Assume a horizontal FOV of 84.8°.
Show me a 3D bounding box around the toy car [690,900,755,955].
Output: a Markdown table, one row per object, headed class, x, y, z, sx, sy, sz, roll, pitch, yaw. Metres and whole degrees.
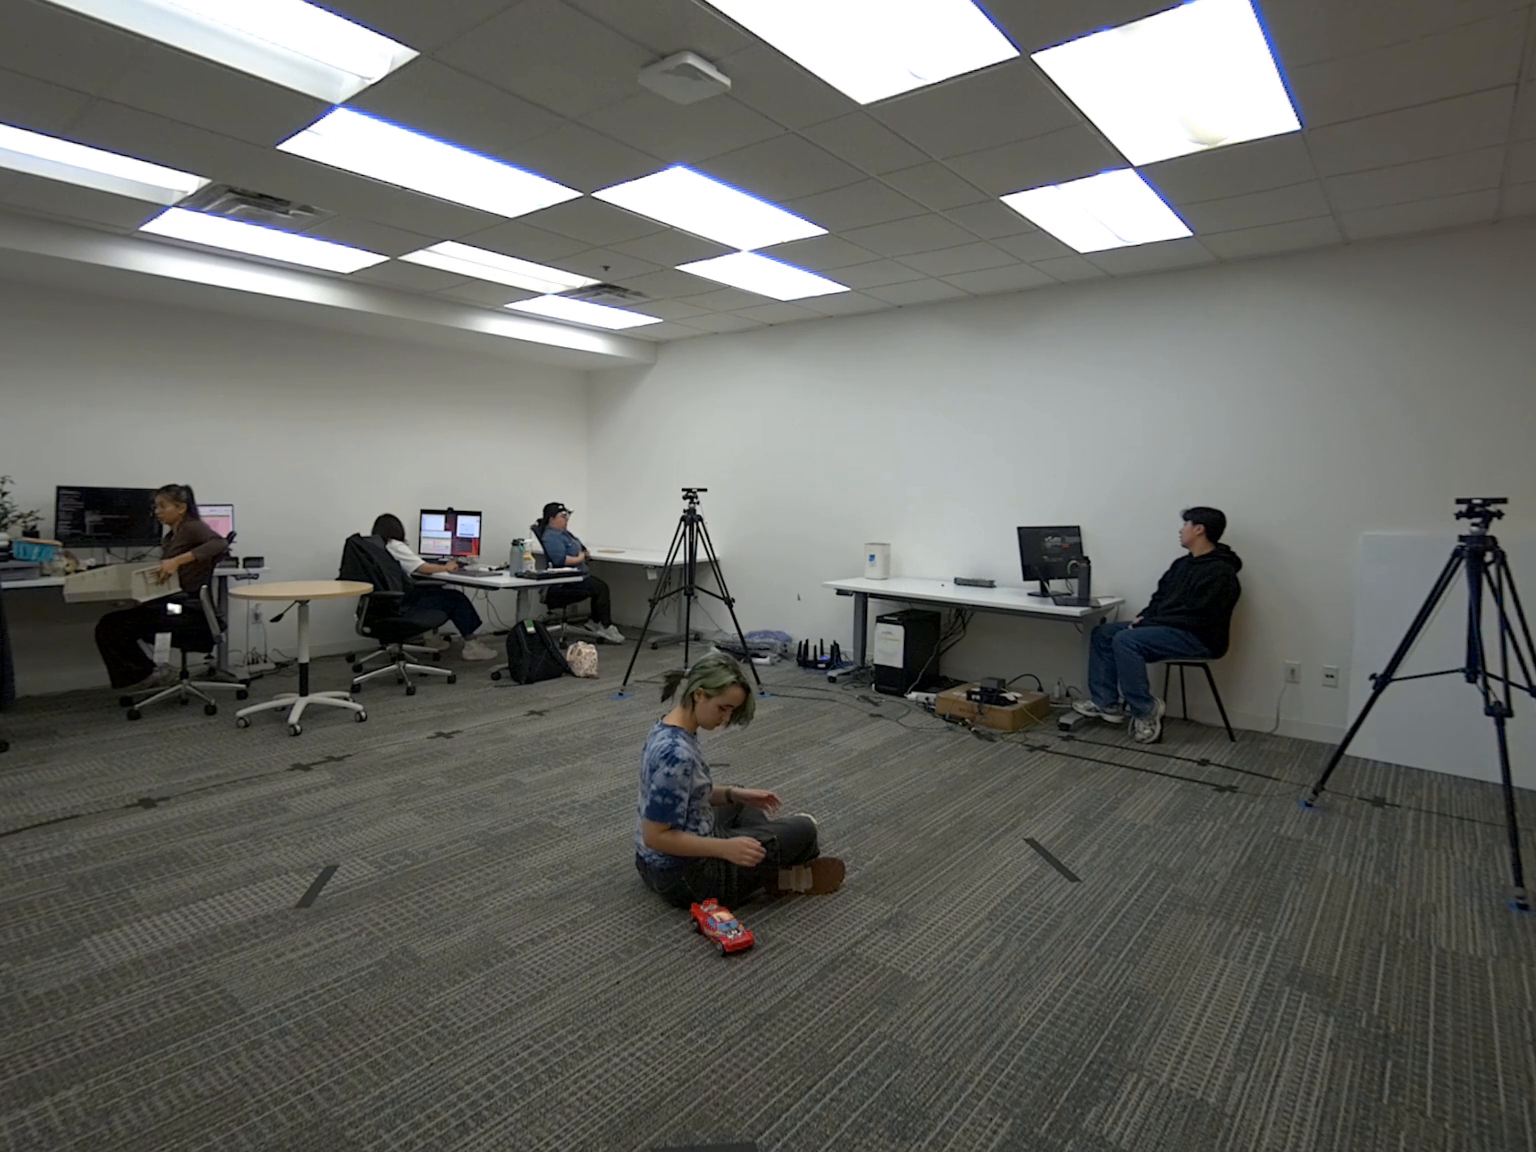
| class | x | y | z | sx | sy | sz | roll | pitch | yaw |
| --- | --- | --- | --- | --- | --- | --- | --- | --- | --- |
| toy car | -0.154 | 1.083 | 2.639 | 0.127 | 0.082 | 0.264 | -2 | 17 | -31 |
